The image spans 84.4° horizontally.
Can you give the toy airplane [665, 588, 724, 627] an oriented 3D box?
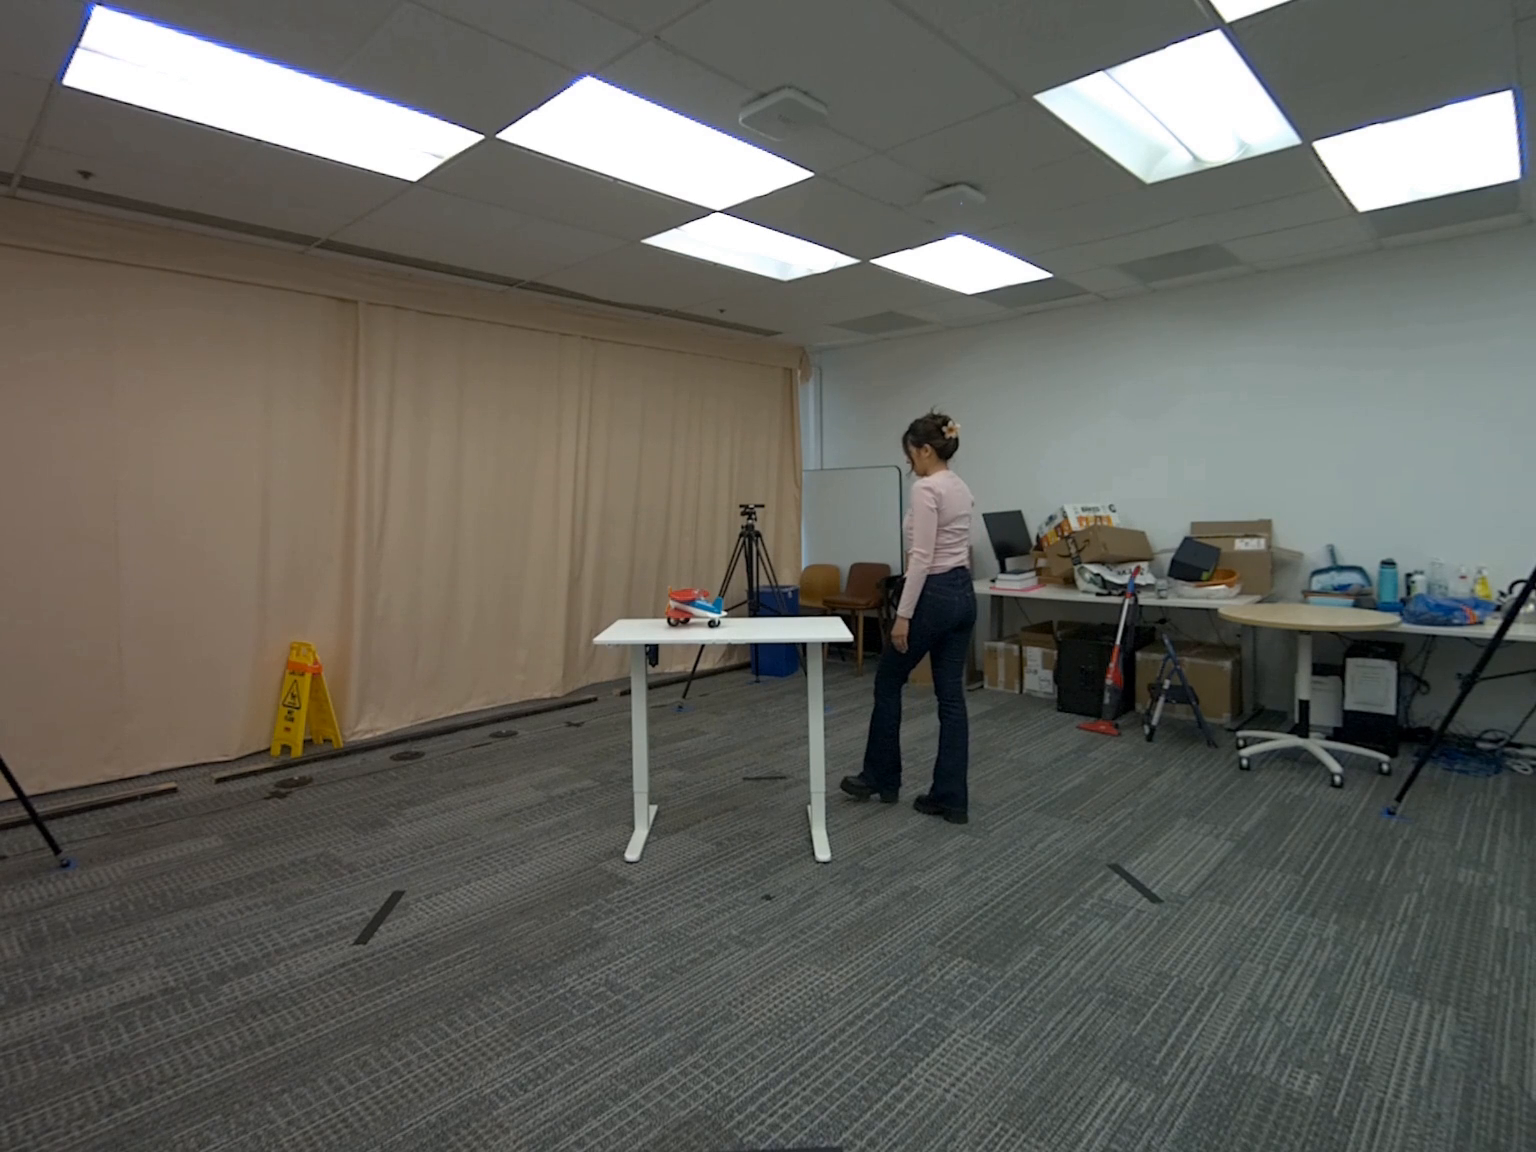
[{"bbox_3d":[-0.305,0.135,3.599,0.259,0.156,0.251,-2,4,0],"label":"toy airplane"}]
